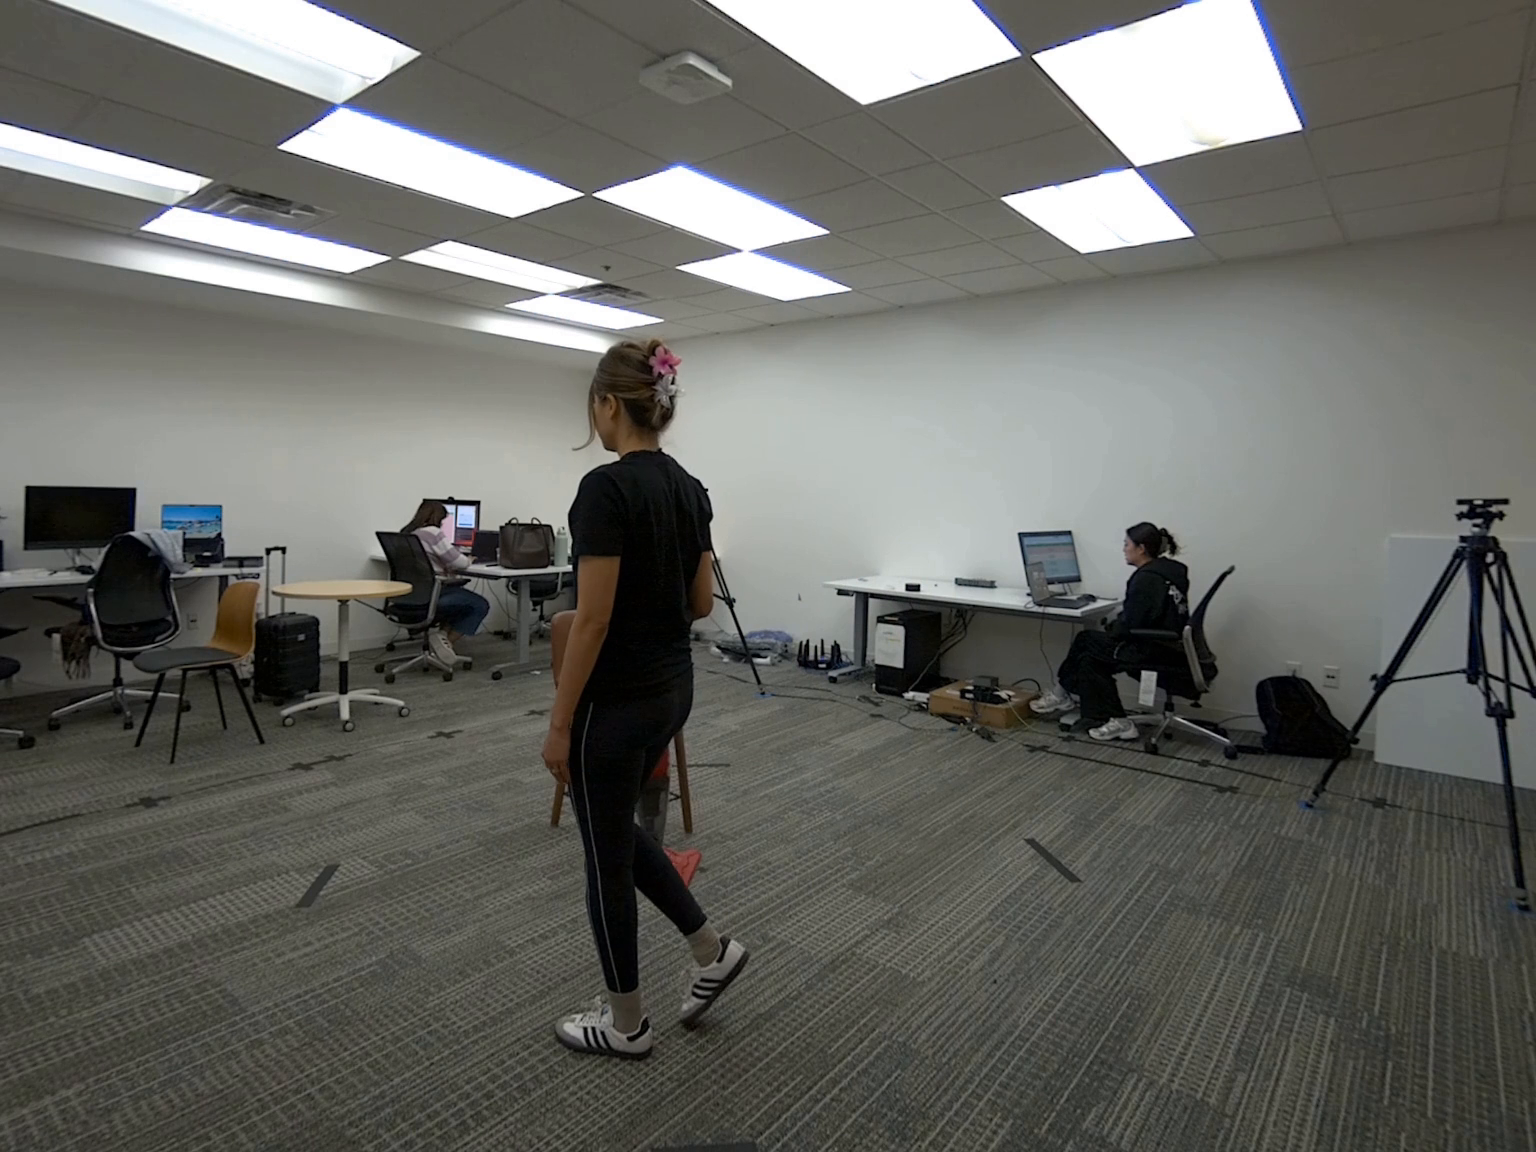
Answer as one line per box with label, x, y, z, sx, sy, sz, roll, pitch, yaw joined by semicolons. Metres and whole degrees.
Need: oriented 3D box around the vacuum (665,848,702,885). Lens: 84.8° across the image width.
vacuum;-0.380;0.326;2.440;0.145;1.049;0.251;-11;0;7
